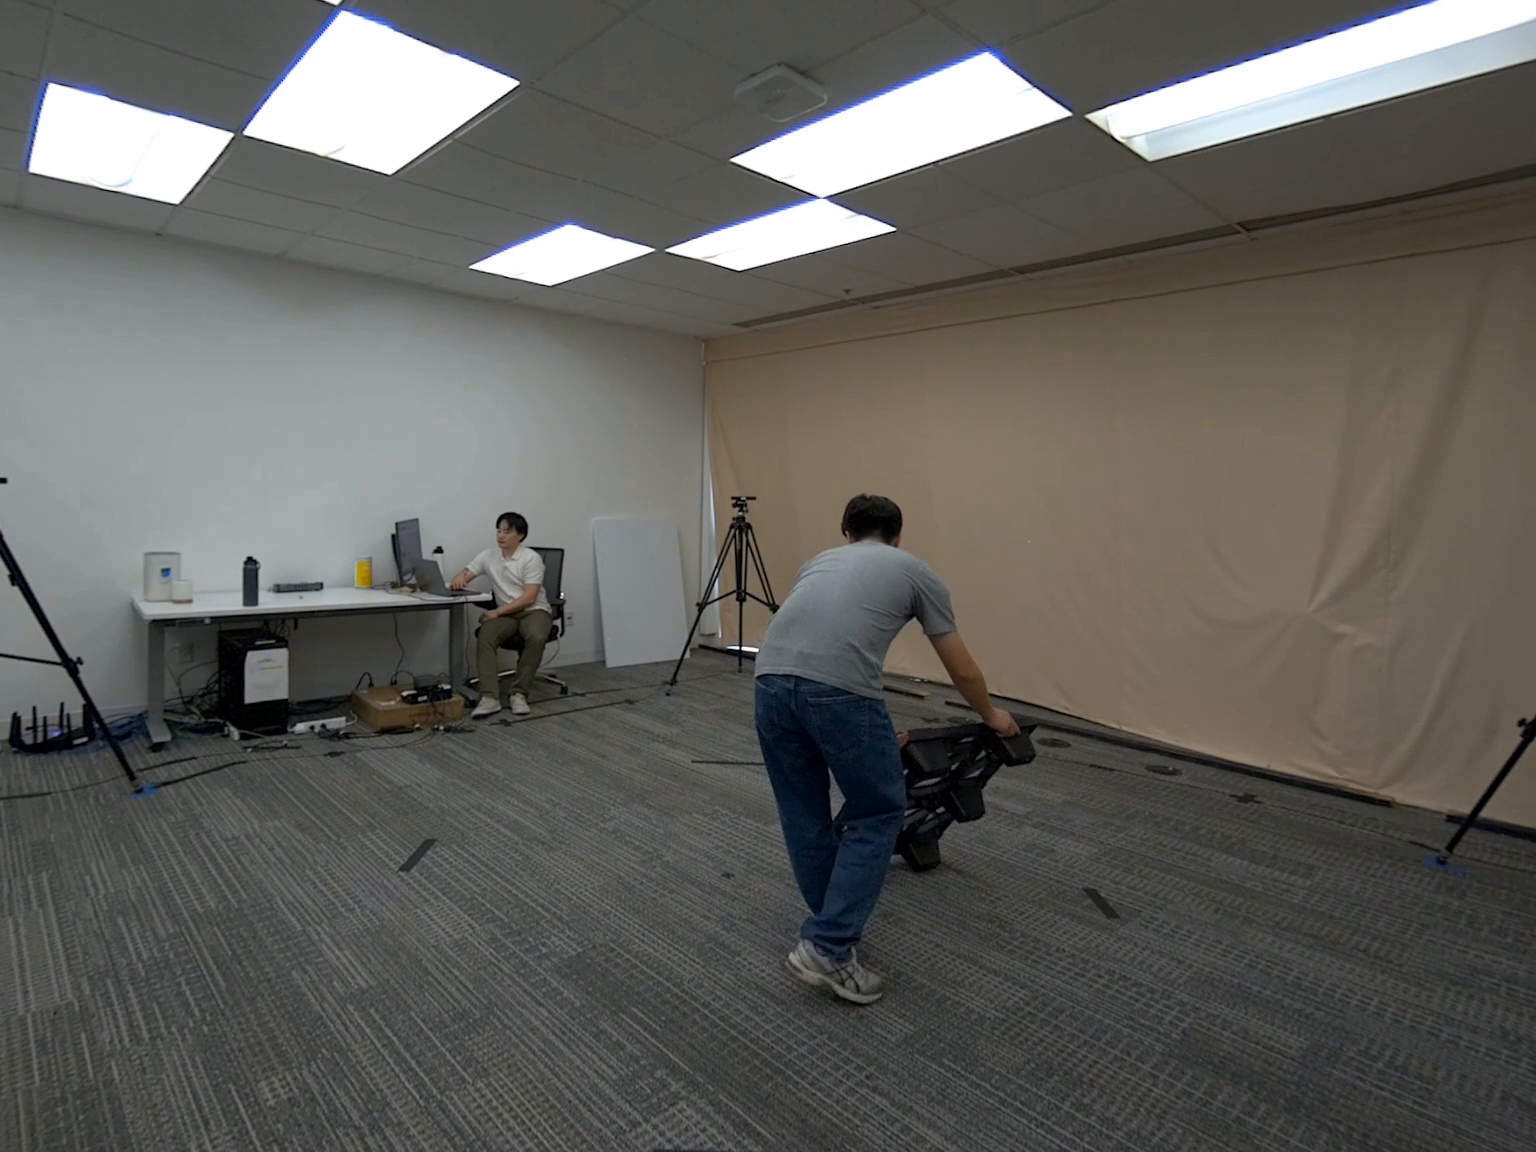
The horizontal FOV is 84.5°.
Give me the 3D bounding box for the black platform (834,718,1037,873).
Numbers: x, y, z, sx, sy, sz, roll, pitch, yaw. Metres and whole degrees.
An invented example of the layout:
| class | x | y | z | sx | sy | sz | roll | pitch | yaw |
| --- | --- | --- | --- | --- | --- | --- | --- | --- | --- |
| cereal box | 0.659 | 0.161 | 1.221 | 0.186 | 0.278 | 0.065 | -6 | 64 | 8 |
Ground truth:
| class | x | y | z | sx | sy | sz | roll | pitch | yaw |
| --- | --- | --- | --- | --- | --- | --- | --- | --- | --- |
| black platform | 0.536 | 0.808 | 2.926 | 0.593 | 0.797 | 0.148 | -1 | 44 | -29 |
